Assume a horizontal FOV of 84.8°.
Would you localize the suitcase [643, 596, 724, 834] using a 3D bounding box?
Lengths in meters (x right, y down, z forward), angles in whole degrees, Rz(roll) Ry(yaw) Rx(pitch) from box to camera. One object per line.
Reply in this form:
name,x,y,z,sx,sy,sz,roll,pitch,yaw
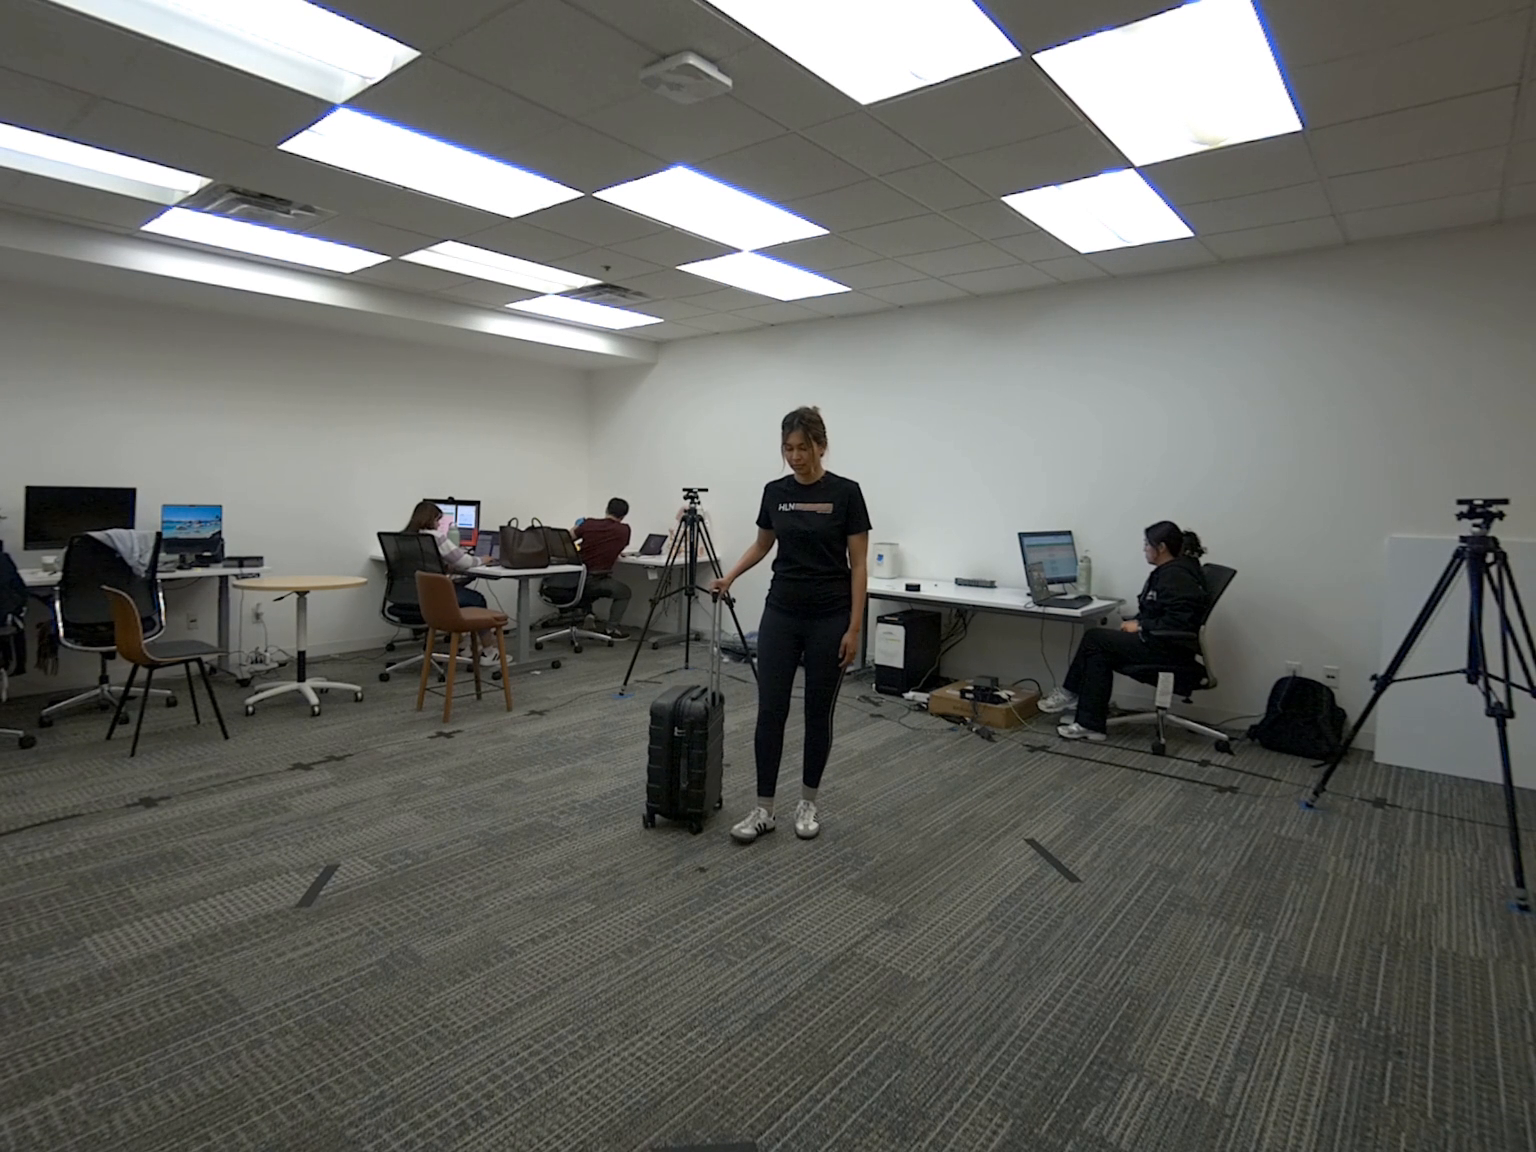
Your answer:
suitcase,-0.350,0.548,3.566,0.260,0.975,0.381,1,4,11
